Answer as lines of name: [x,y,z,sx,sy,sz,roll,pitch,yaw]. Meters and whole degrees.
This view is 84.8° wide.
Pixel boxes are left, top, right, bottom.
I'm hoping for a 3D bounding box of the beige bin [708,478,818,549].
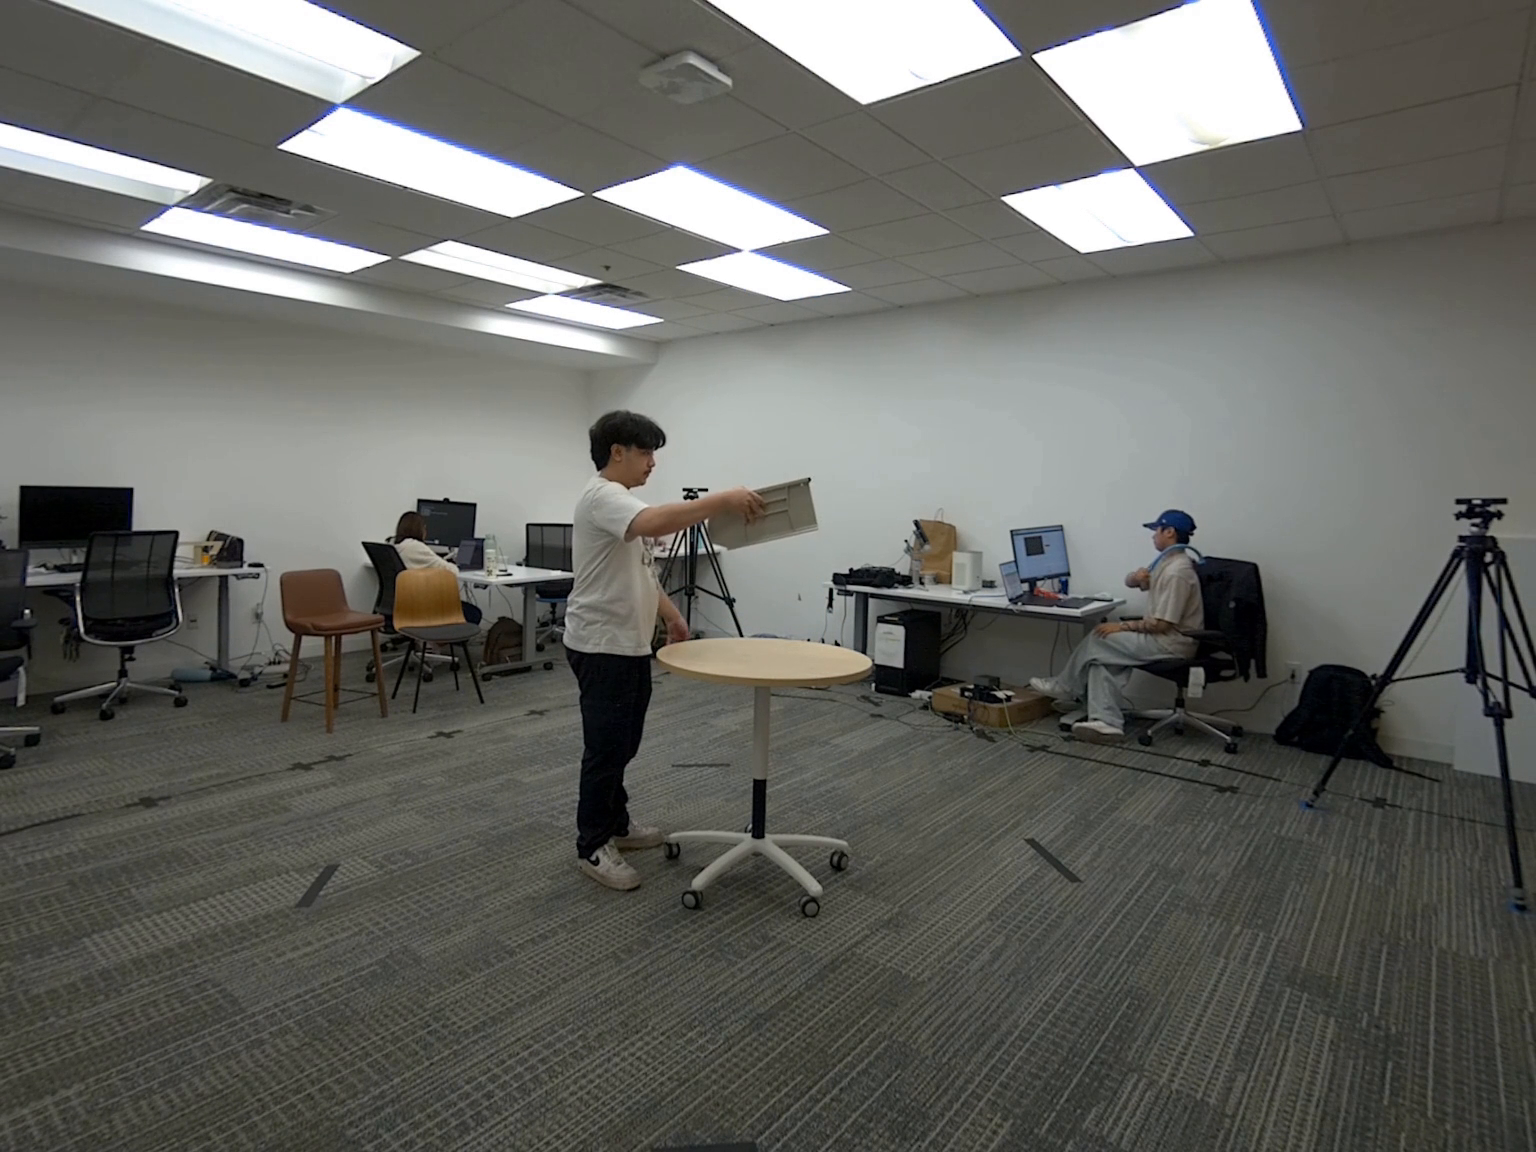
beige bin: [-0.035,-0.222,3.054,0.379,0.188,0.422,-12,5,3]
